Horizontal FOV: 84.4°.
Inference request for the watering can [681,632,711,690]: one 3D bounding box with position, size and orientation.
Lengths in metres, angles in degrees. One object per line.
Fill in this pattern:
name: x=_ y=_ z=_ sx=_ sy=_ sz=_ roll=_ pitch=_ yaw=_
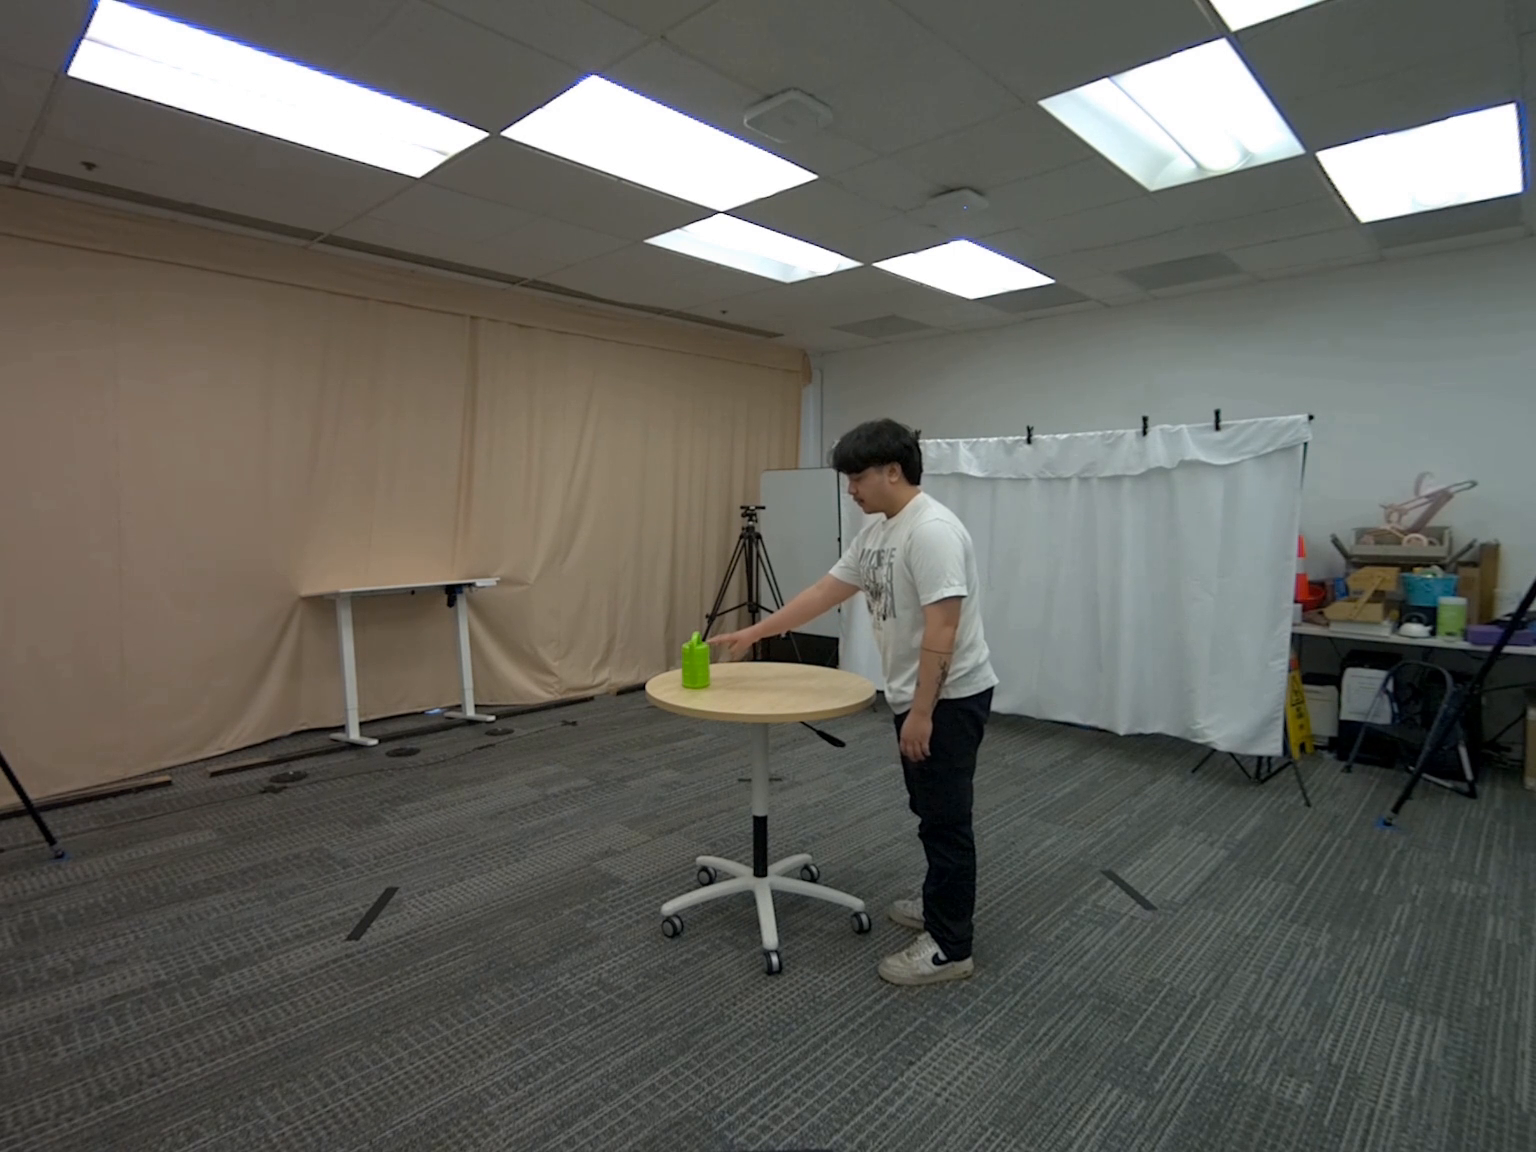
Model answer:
watering can: x=-0.243 y=0.285 z=2.769 sx=0.100 sy=0.176 sz=0.273 roll=2 pitch=4 yaw=18
